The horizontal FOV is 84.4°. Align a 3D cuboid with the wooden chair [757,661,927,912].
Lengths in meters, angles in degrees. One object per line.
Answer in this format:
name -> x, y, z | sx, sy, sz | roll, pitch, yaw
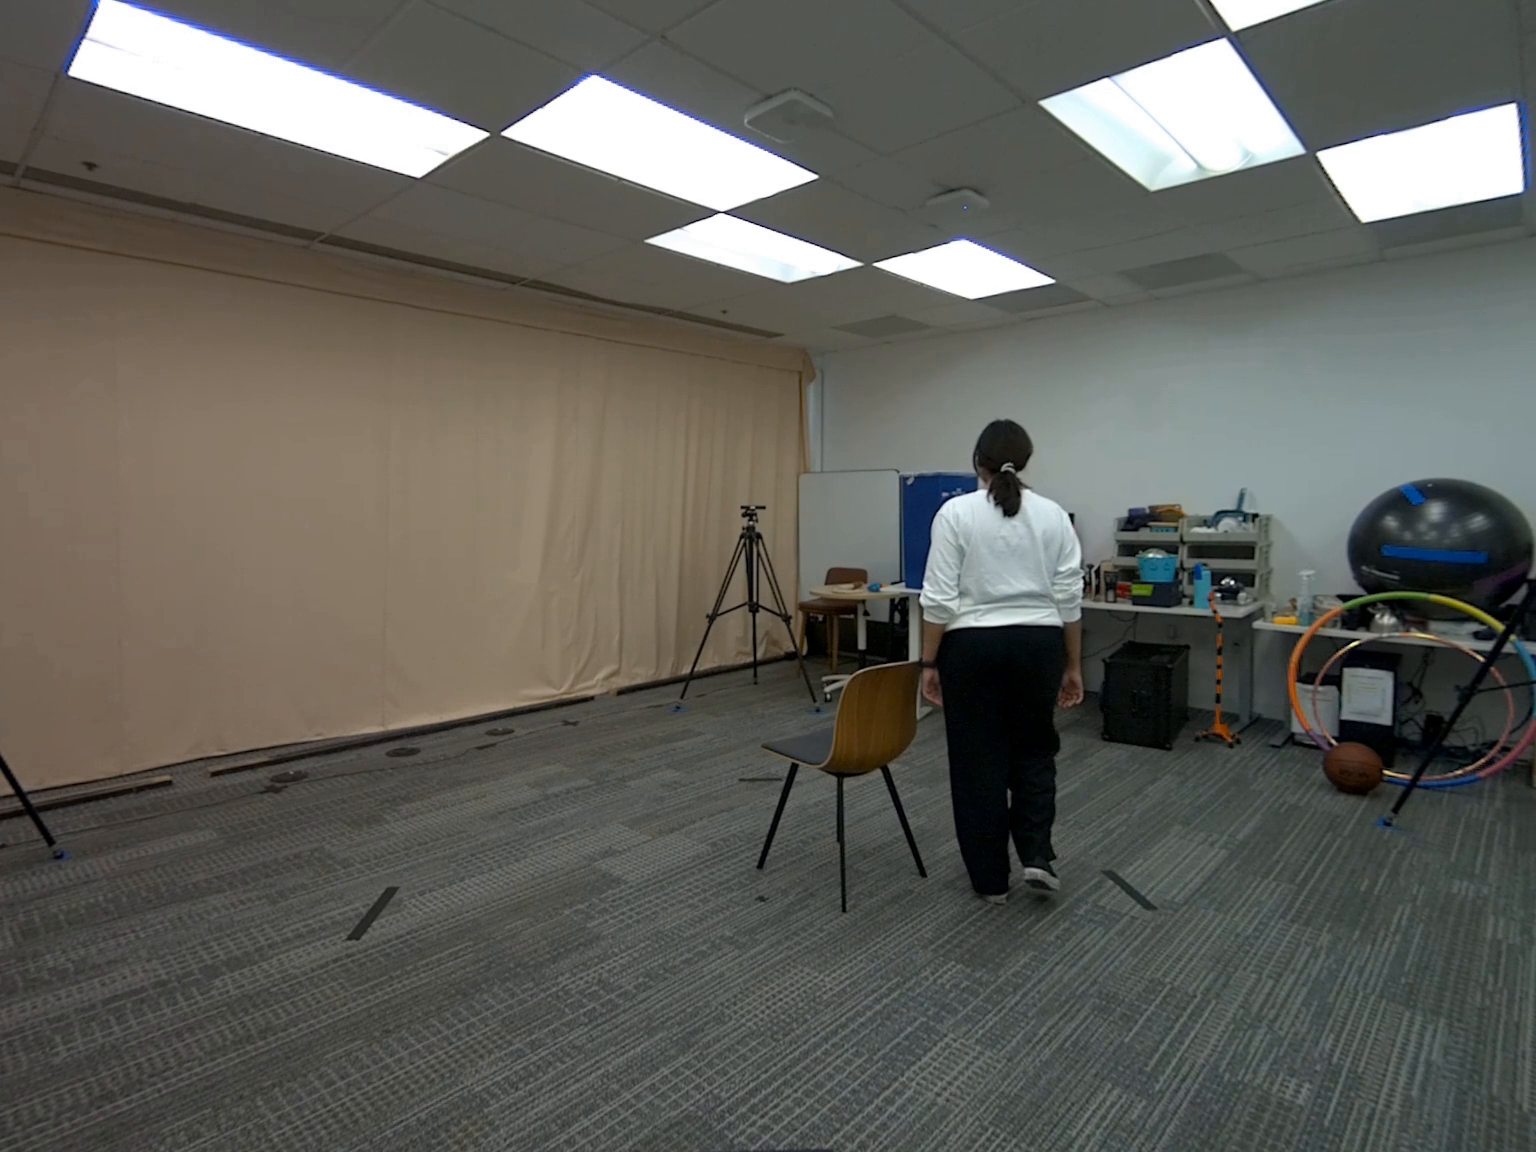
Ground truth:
wooden chair -> 0.277, 0.702, 3.166 | 0.463, 0.874, 0.541 | -3, 9, -40
